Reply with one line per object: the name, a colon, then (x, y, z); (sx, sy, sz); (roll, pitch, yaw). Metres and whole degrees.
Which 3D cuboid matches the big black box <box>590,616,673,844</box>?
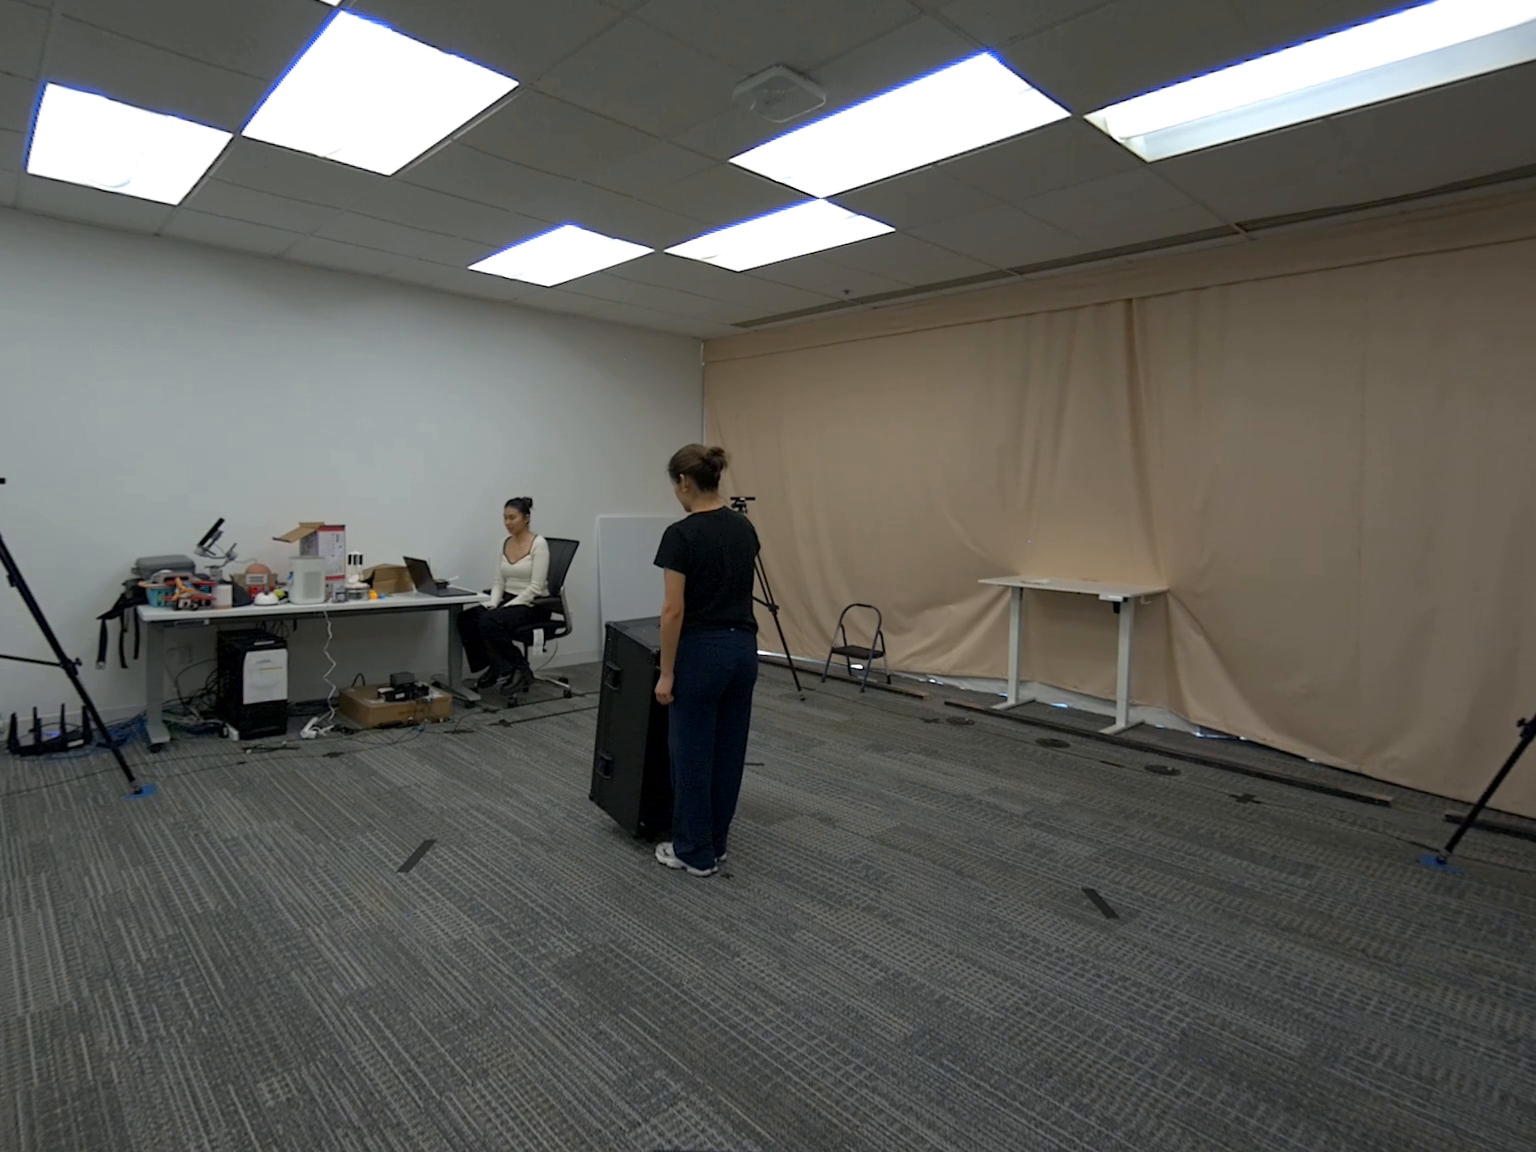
big black box: (-0.398, 0.573, 3.444); (0.510, 0.855, 0.408); (-3, 16, -41)
